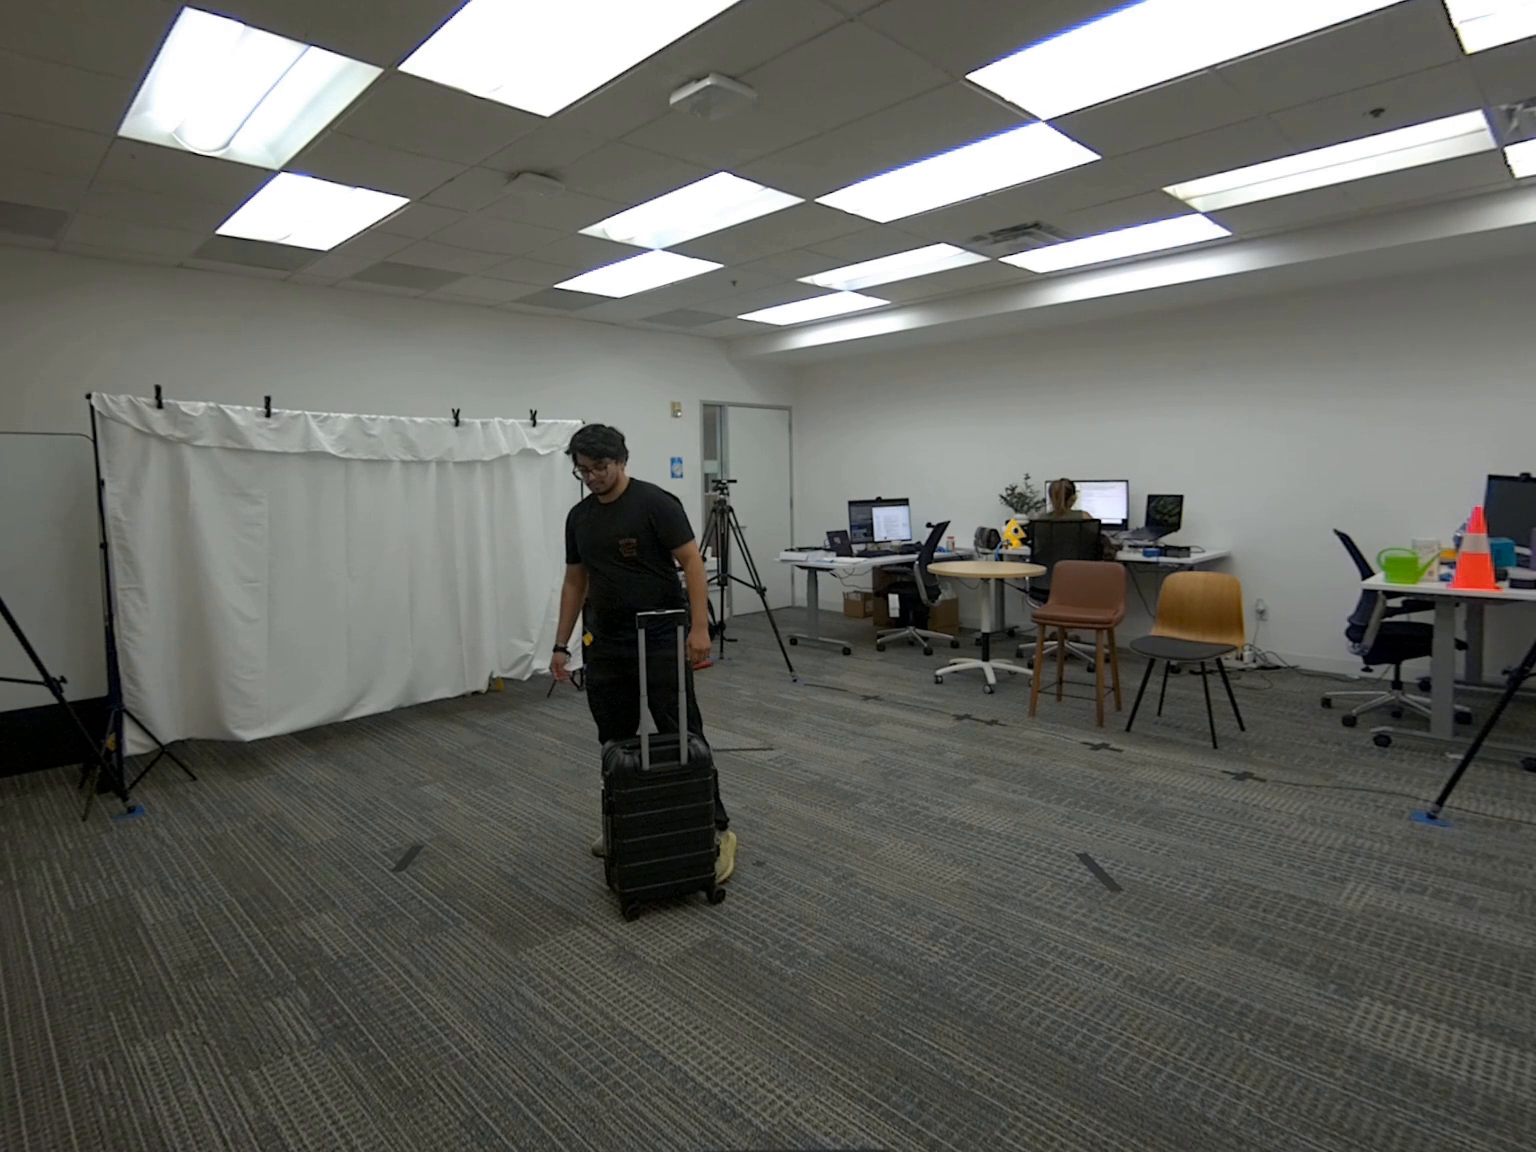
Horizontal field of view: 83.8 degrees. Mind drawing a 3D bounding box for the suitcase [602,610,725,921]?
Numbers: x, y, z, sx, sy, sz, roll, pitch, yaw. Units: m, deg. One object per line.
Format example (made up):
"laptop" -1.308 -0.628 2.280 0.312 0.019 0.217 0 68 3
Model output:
"suitcase" -0.371 0.604 2.841 0.378 0.977 0.261 -1 1 -17
